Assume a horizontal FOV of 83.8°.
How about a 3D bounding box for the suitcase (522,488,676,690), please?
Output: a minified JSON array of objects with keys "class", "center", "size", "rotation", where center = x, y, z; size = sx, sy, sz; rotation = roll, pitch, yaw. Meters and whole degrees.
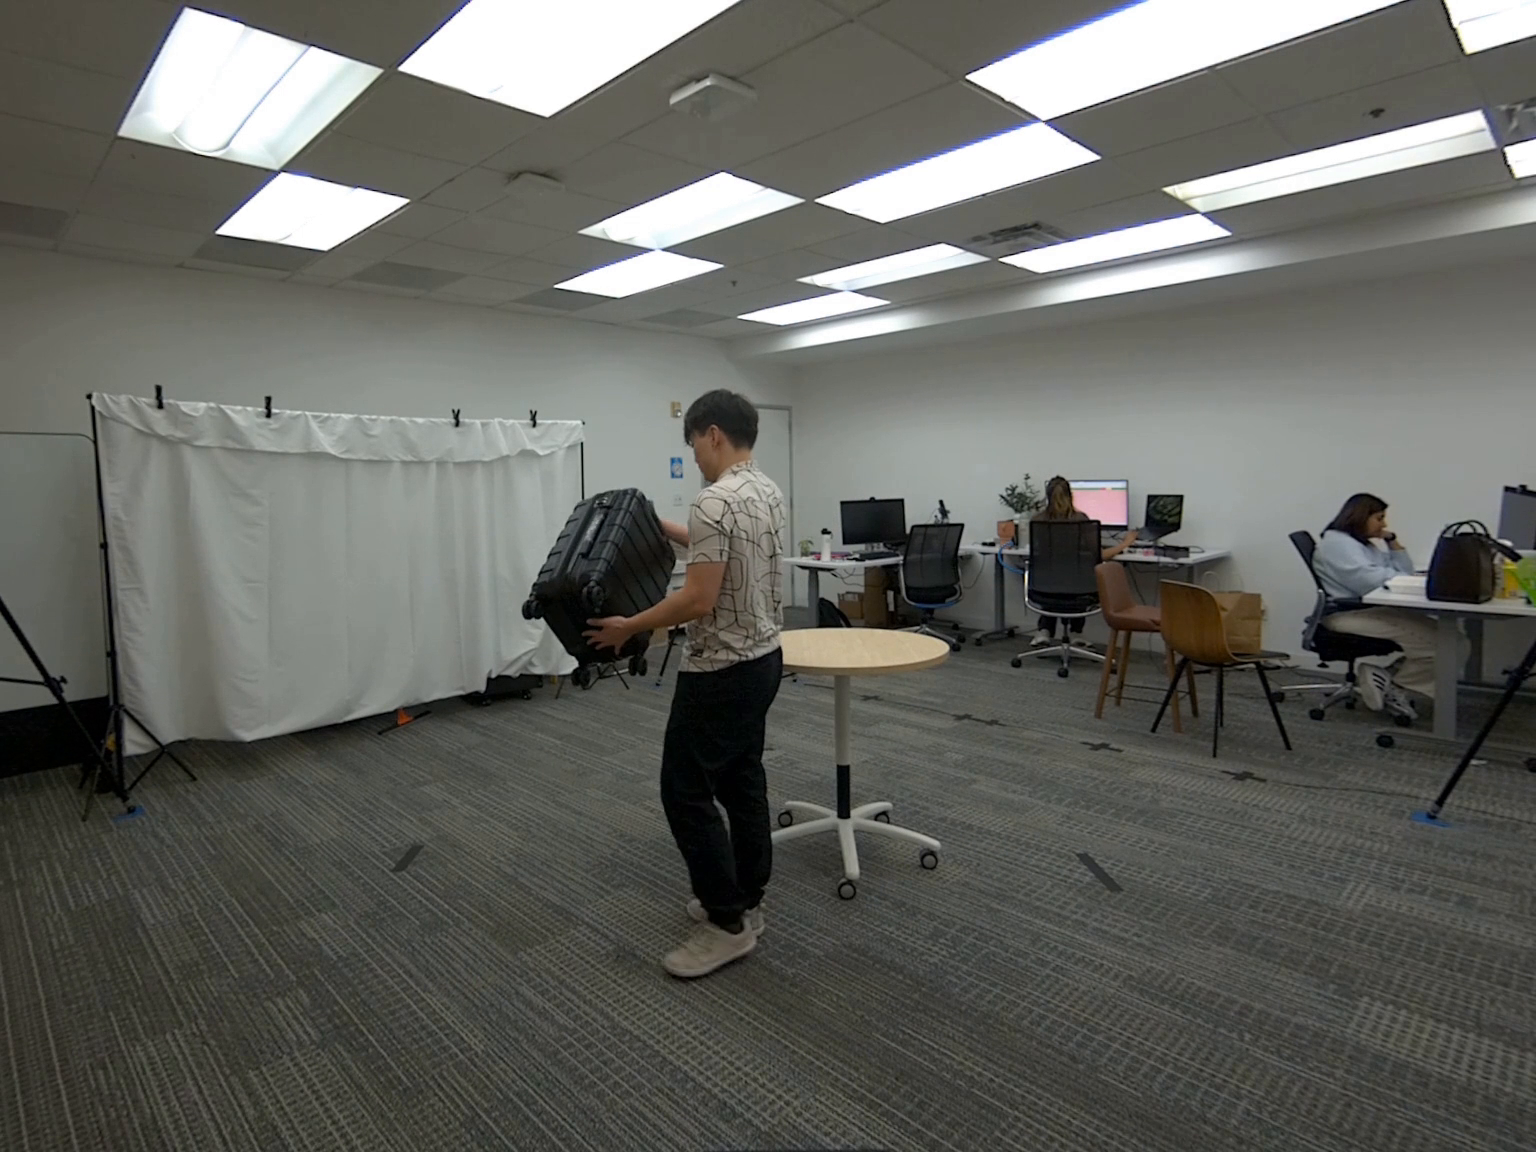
[{"class":"suitcase","center":[-0.500,-0.001,2.681],"size":[0.252,0.362,0.560],"rotation":[-11,40,22]}]
